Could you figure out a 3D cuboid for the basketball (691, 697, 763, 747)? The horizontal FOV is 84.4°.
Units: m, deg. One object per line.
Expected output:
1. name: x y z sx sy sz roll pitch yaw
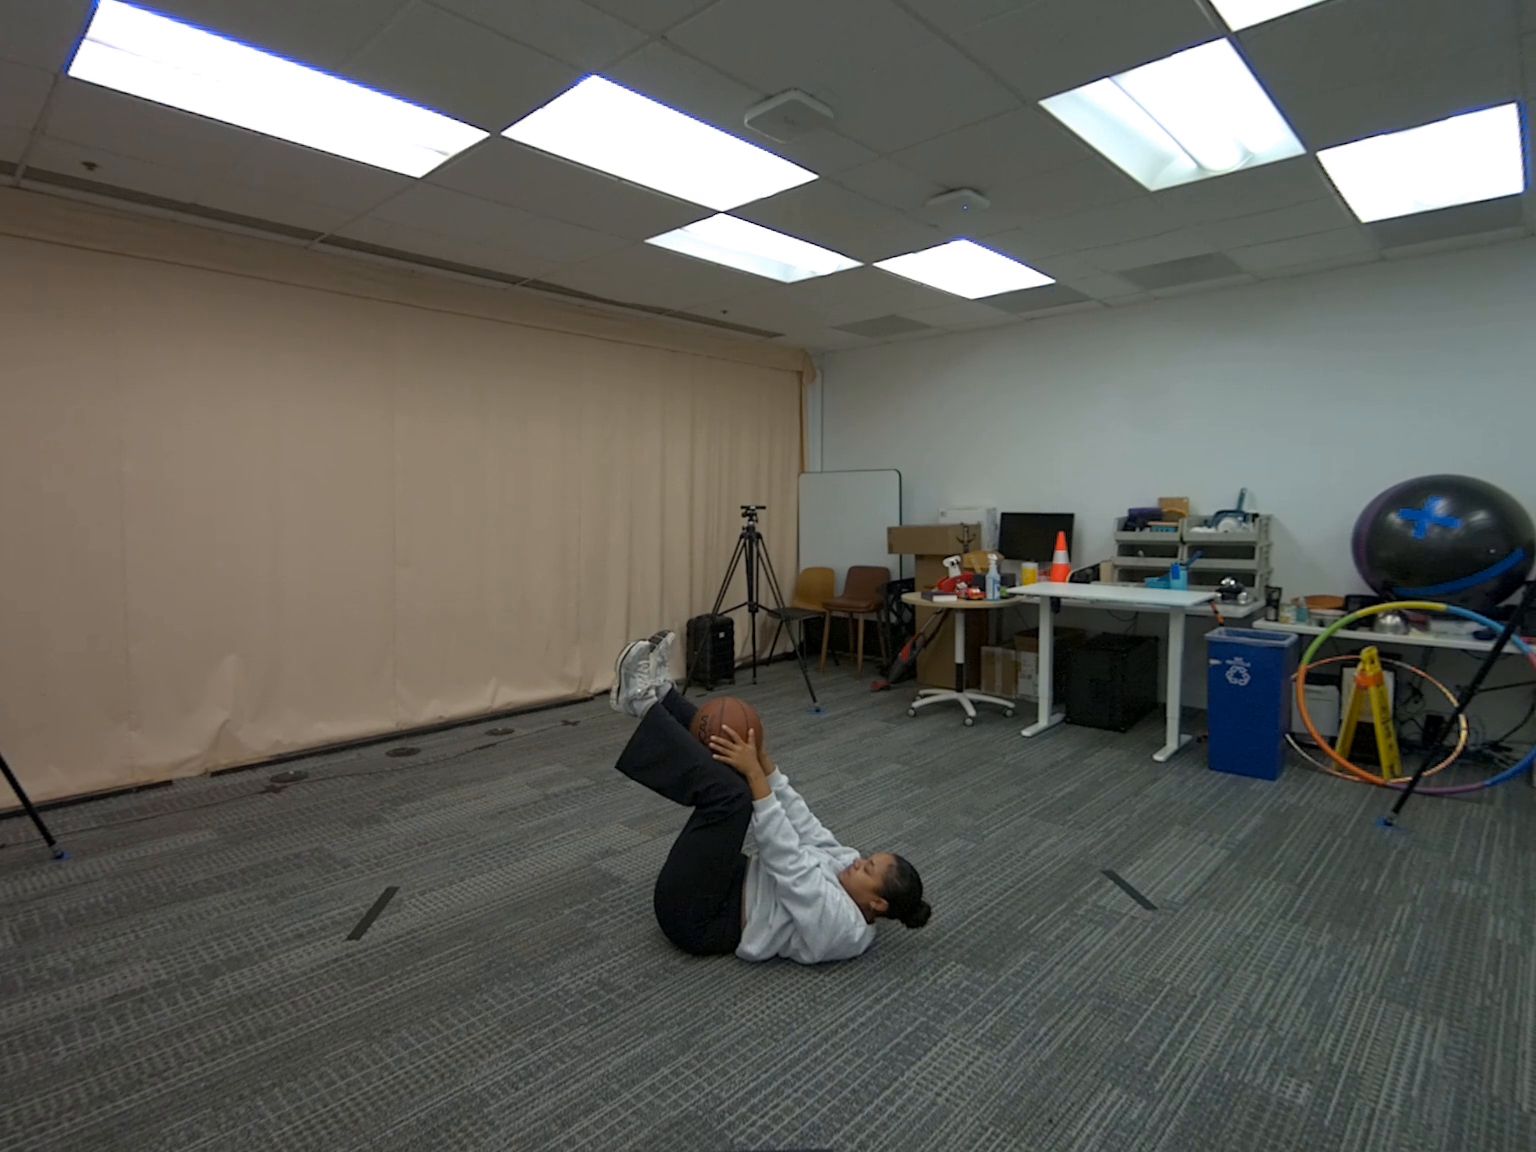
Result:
1. basketball: -0.133 0.507 2.705 0.235 0.235 0.237 1 4 -2
